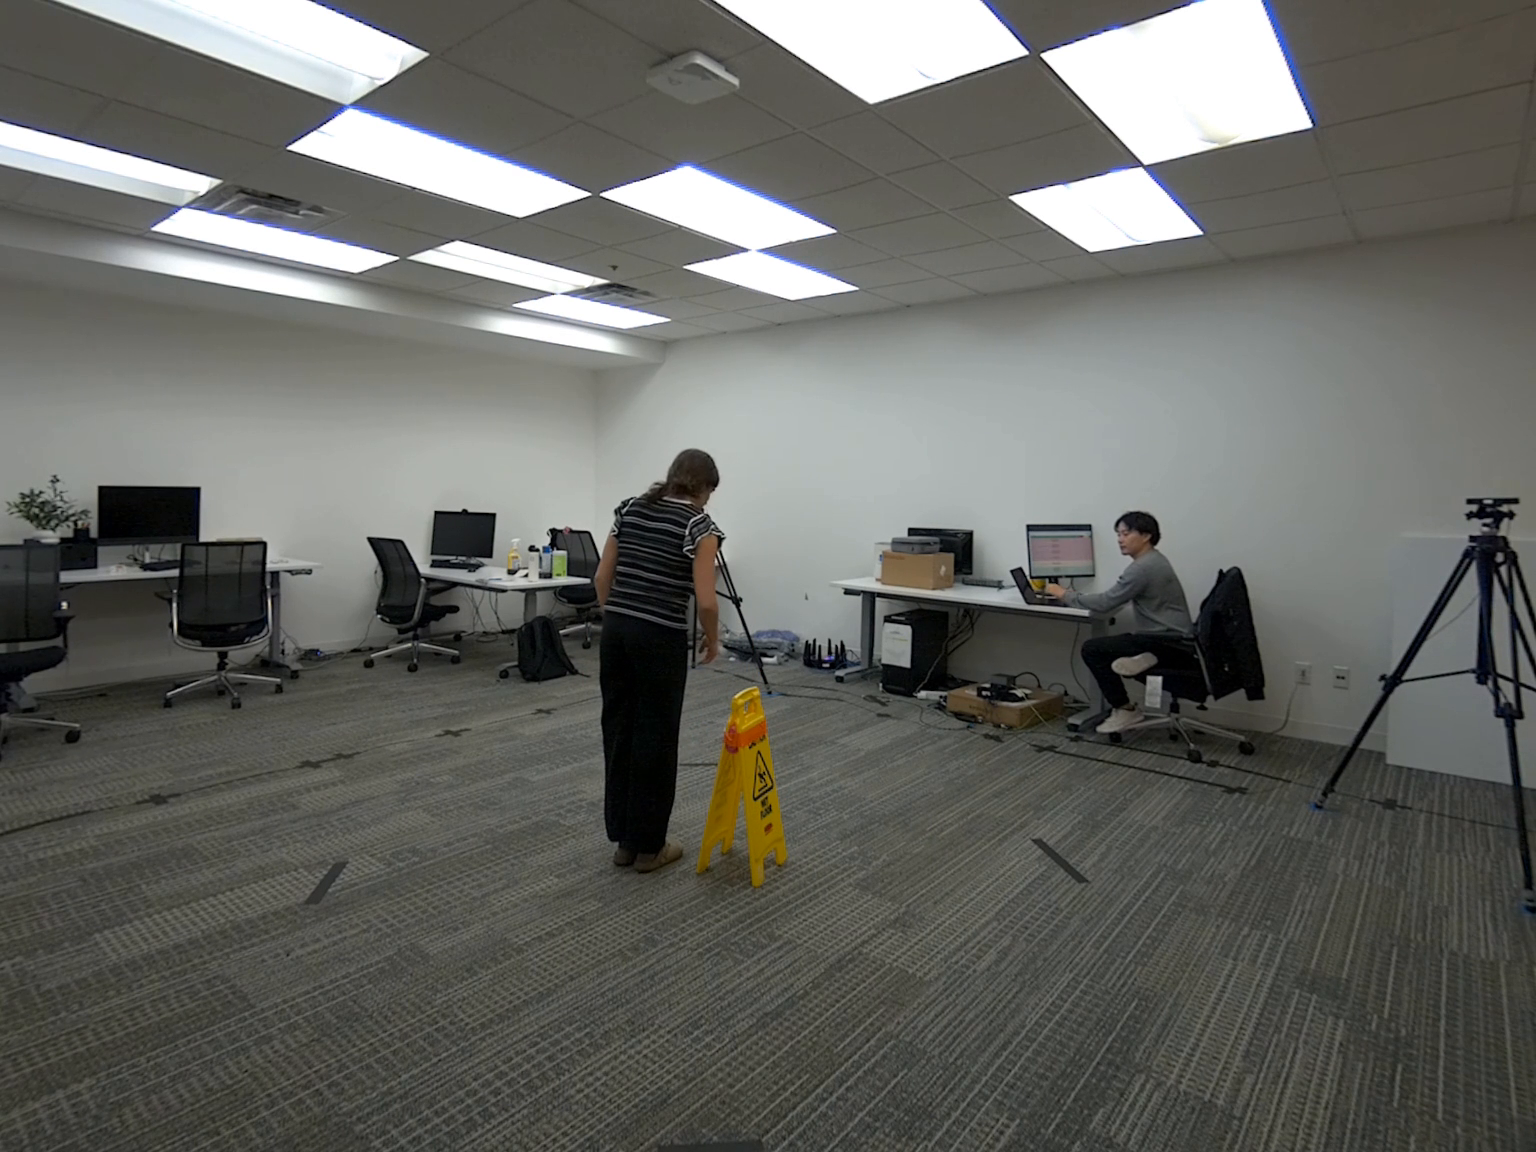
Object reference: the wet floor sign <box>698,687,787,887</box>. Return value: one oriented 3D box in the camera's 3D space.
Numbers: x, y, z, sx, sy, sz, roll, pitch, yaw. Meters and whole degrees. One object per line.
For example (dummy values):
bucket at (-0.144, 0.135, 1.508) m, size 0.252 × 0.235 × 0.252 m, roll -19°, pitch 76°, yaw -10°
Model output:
wet floor sign at (-0.094, 0.747, 3.117) m, size 0.297 × 0.644 × 0.276 m, roll 3°, pitch 4°, yaw 25°
